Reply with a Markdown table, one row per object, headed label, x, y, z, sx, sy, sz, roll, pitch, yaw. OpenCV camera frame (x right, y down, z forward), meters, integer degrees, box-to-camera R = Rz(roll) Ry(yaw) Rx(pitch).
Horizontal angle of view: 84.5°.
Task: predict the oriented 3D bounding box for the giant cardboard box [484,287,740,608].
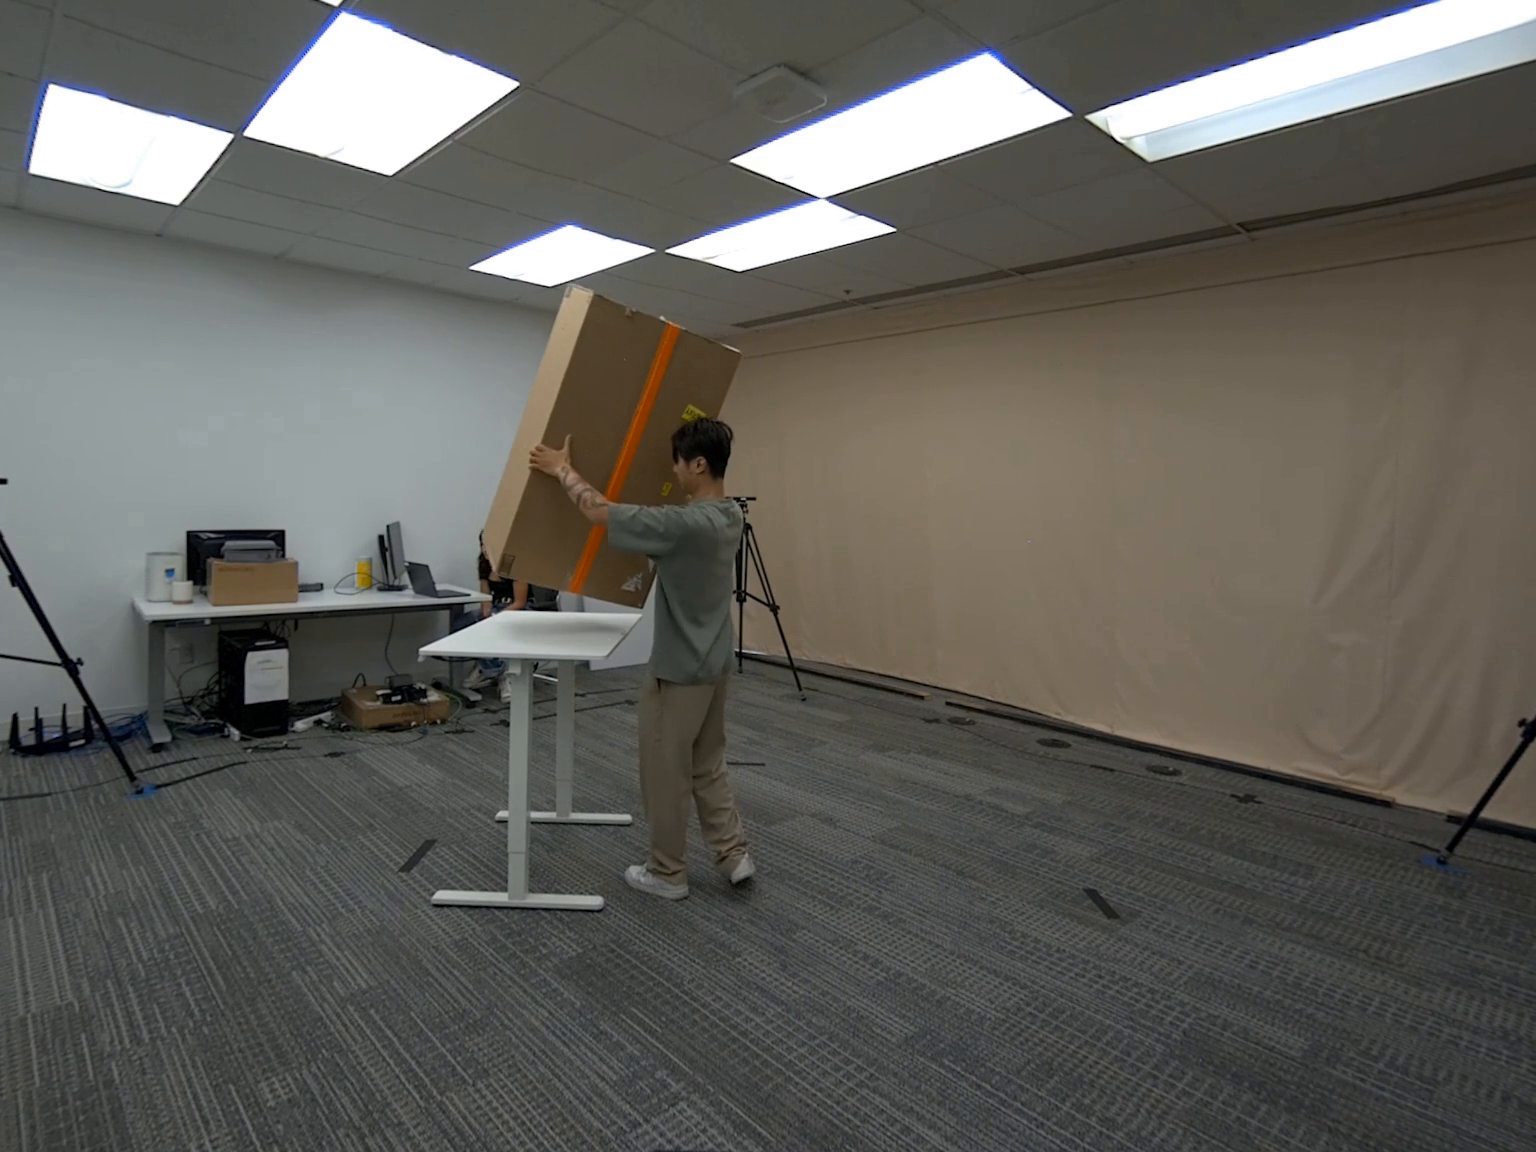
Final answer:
| label | x | y | z | sx | sy | sz | roll | pitch | yaw |
| --- | --- | --- | --- | --- | --- | --- | --- | --- | --- |
| giant cardboard box | -0.604 | -0.469 | 3.133 | 0.564 | 1.021 | 0.438 | 16 | 13 | -29 |
